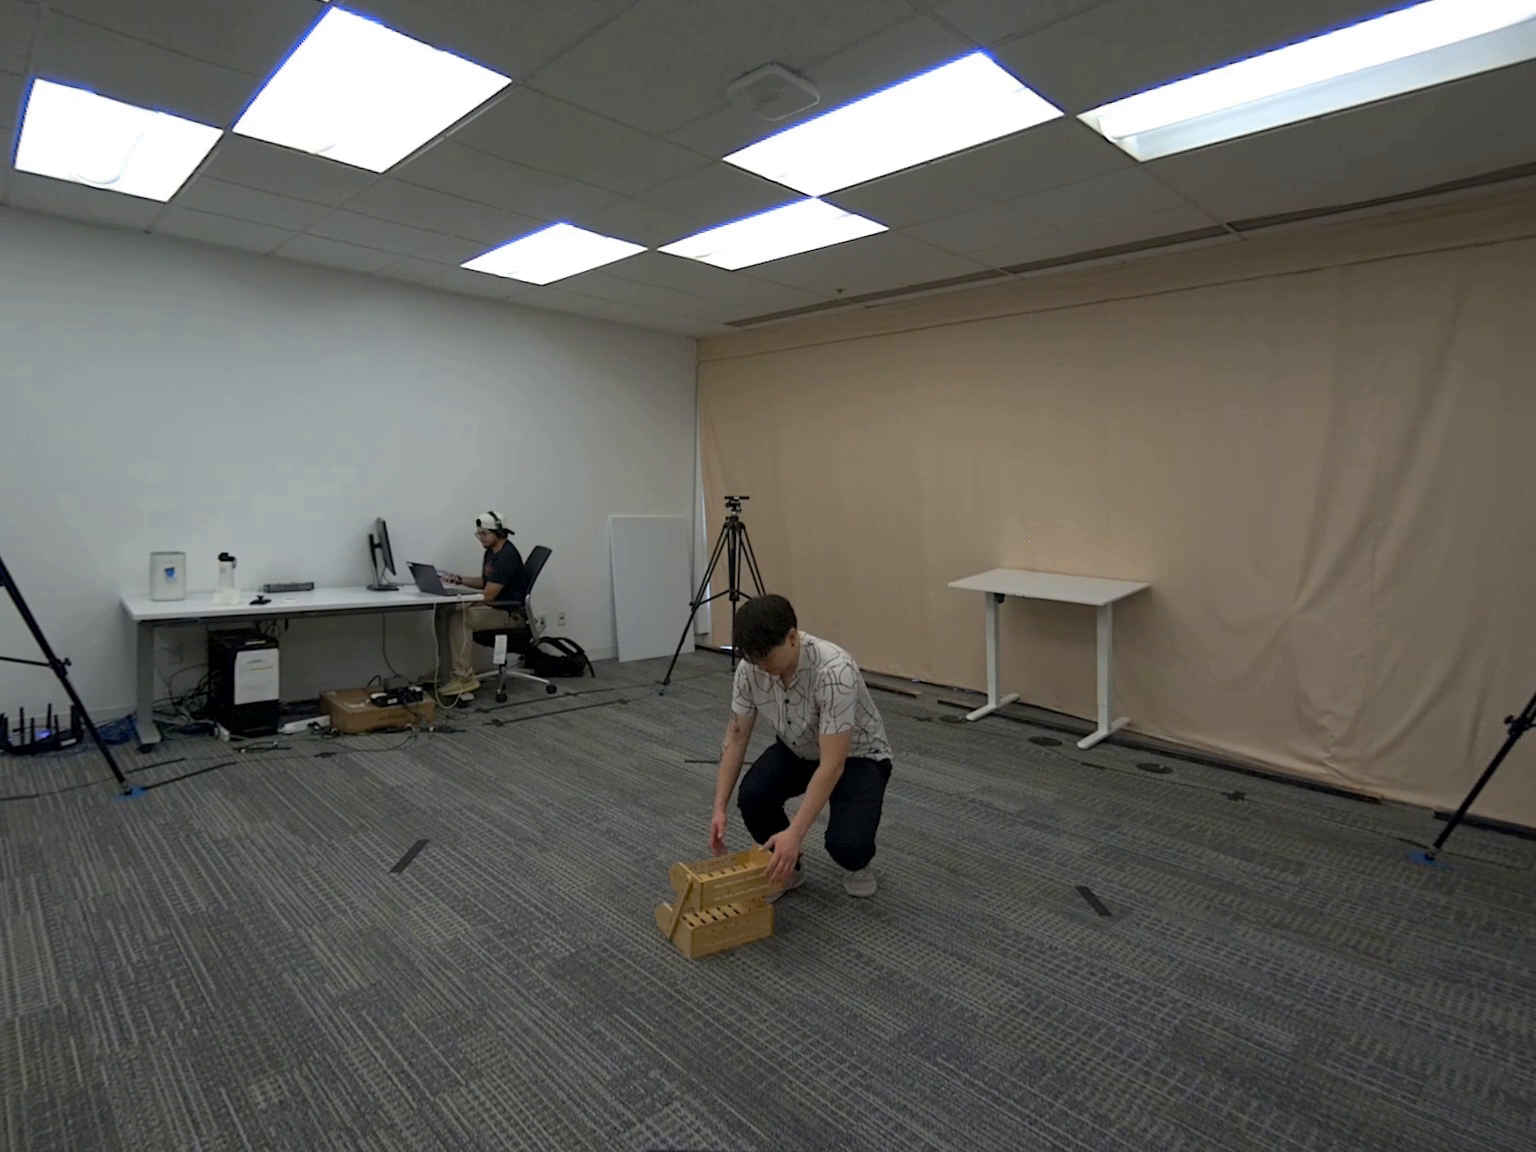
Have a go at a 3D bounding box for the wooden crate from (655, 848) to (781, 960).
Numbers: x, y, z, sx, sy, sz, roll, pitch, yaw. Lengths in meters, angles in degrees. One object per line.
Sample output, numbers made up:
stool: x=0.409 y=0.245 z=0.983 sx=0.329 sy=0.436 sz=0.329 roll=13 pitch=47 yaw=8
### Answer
wooden crate: x=-0.161 y=1.003 z=2.681 sx=0.317 sy=0.272 sz=0.309 roll=-1 pitch=6 yaw=-32
